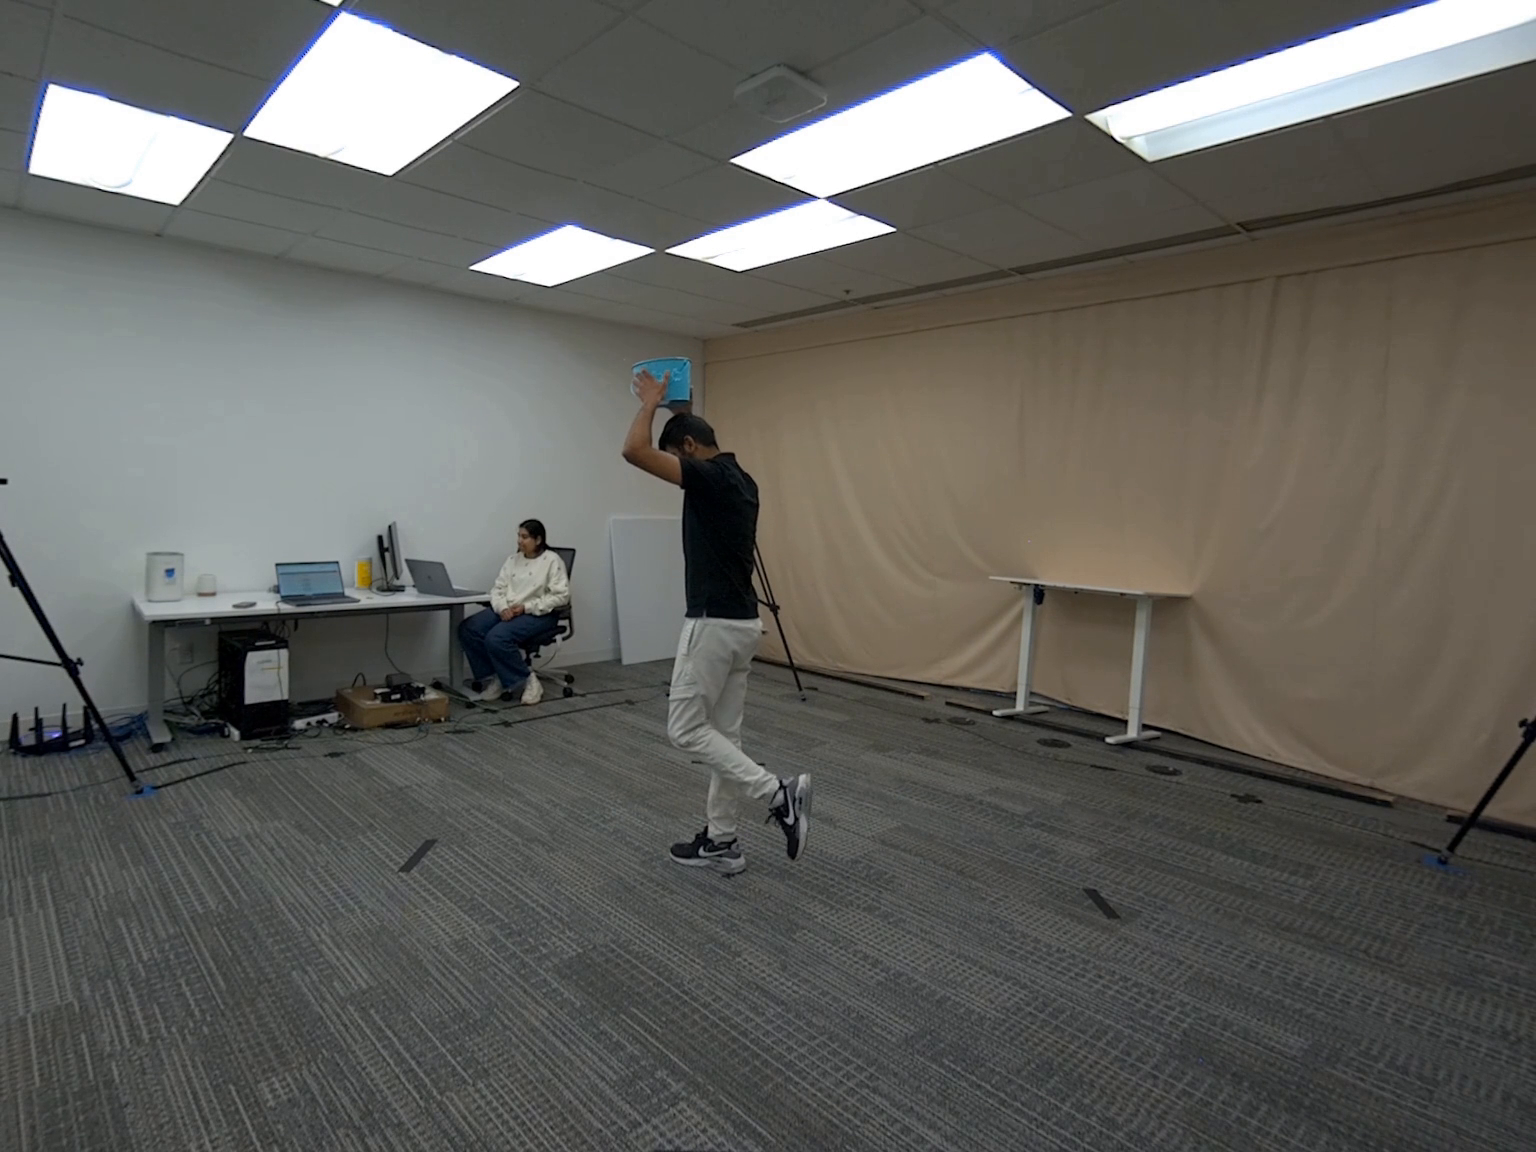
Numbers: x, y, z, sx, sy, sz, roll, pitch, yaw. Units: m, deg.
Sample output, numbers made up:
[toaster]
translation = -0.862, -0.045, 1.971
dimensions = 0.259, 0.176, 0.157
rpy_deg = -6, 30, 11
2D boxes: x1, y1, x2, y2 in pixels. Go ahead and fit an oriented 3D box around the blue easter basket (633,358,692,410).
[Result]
[blue easter basket]
translation = -0.408, -0.733, 3.210
dimensions = 0.243, 0.155, 0.244
rpy_deg = -7, 4, -1
